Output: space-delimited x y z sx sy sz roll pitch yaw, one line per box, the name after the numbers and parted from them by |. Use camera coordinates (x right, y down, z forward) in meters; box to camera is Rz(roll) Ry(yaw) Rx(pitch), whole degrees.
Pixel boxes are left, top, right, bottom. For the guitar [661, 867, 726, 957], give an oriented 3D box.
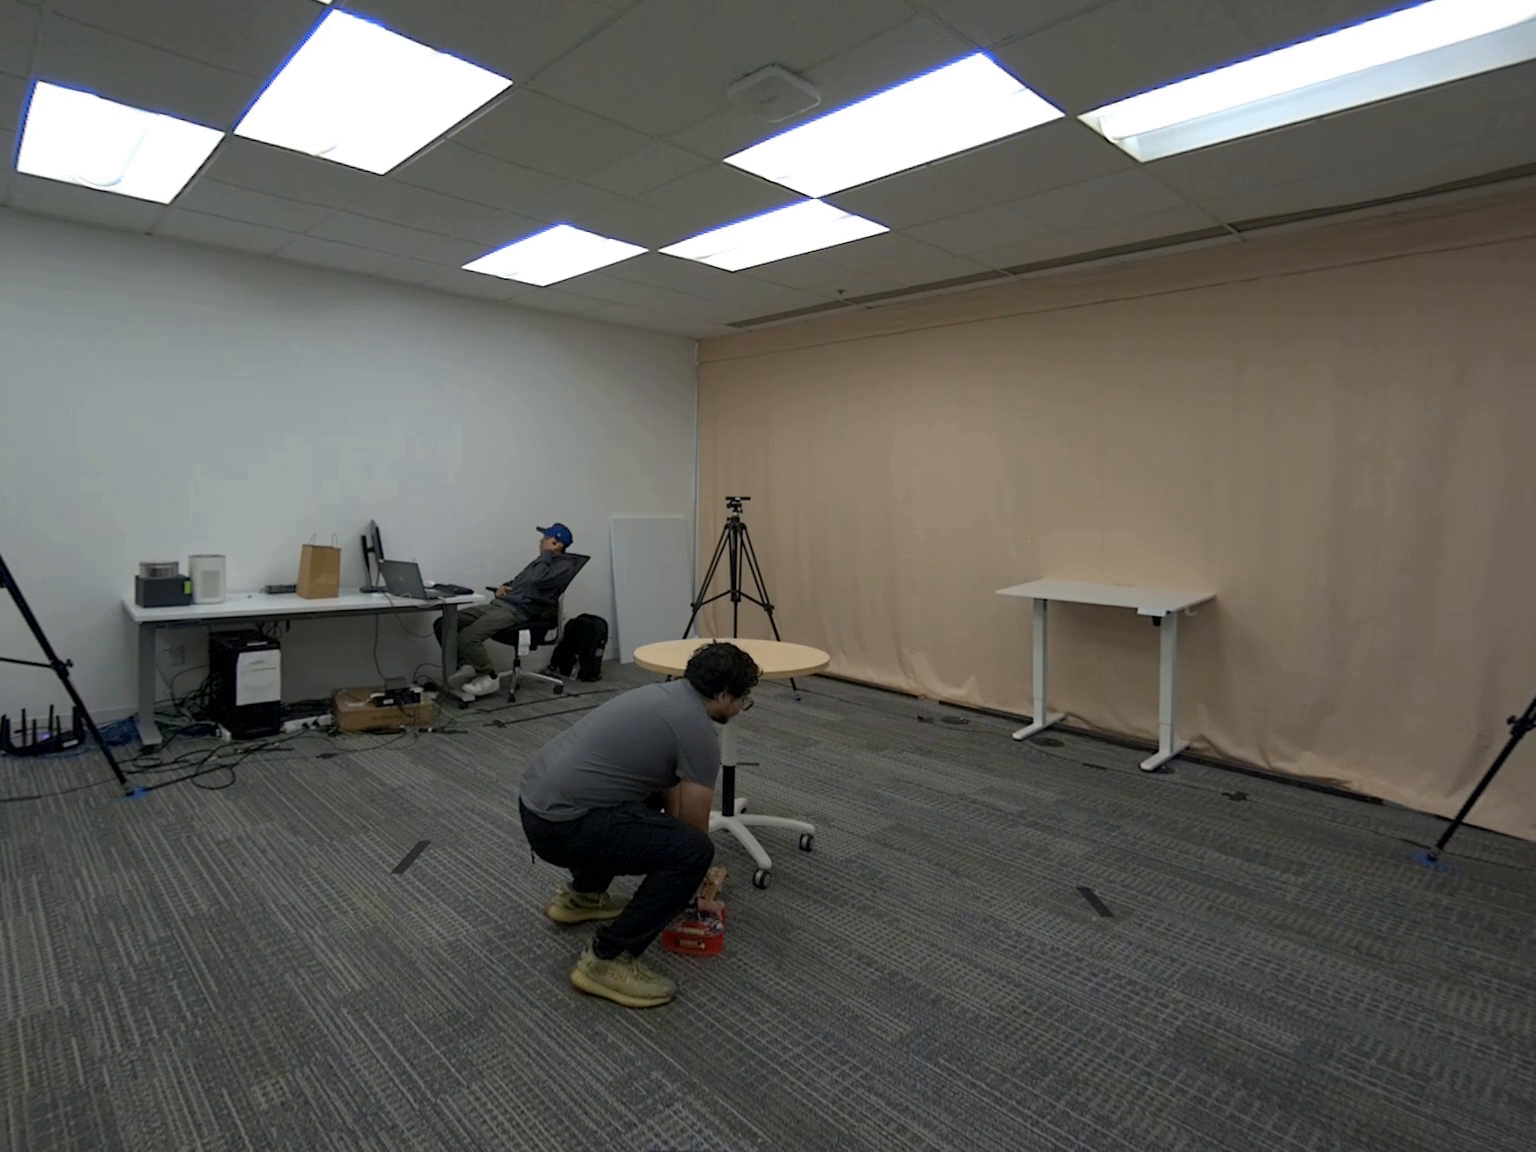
-0.188 1.089 2.793 0.196 0.070 0.492 3 5 16 | guitar
